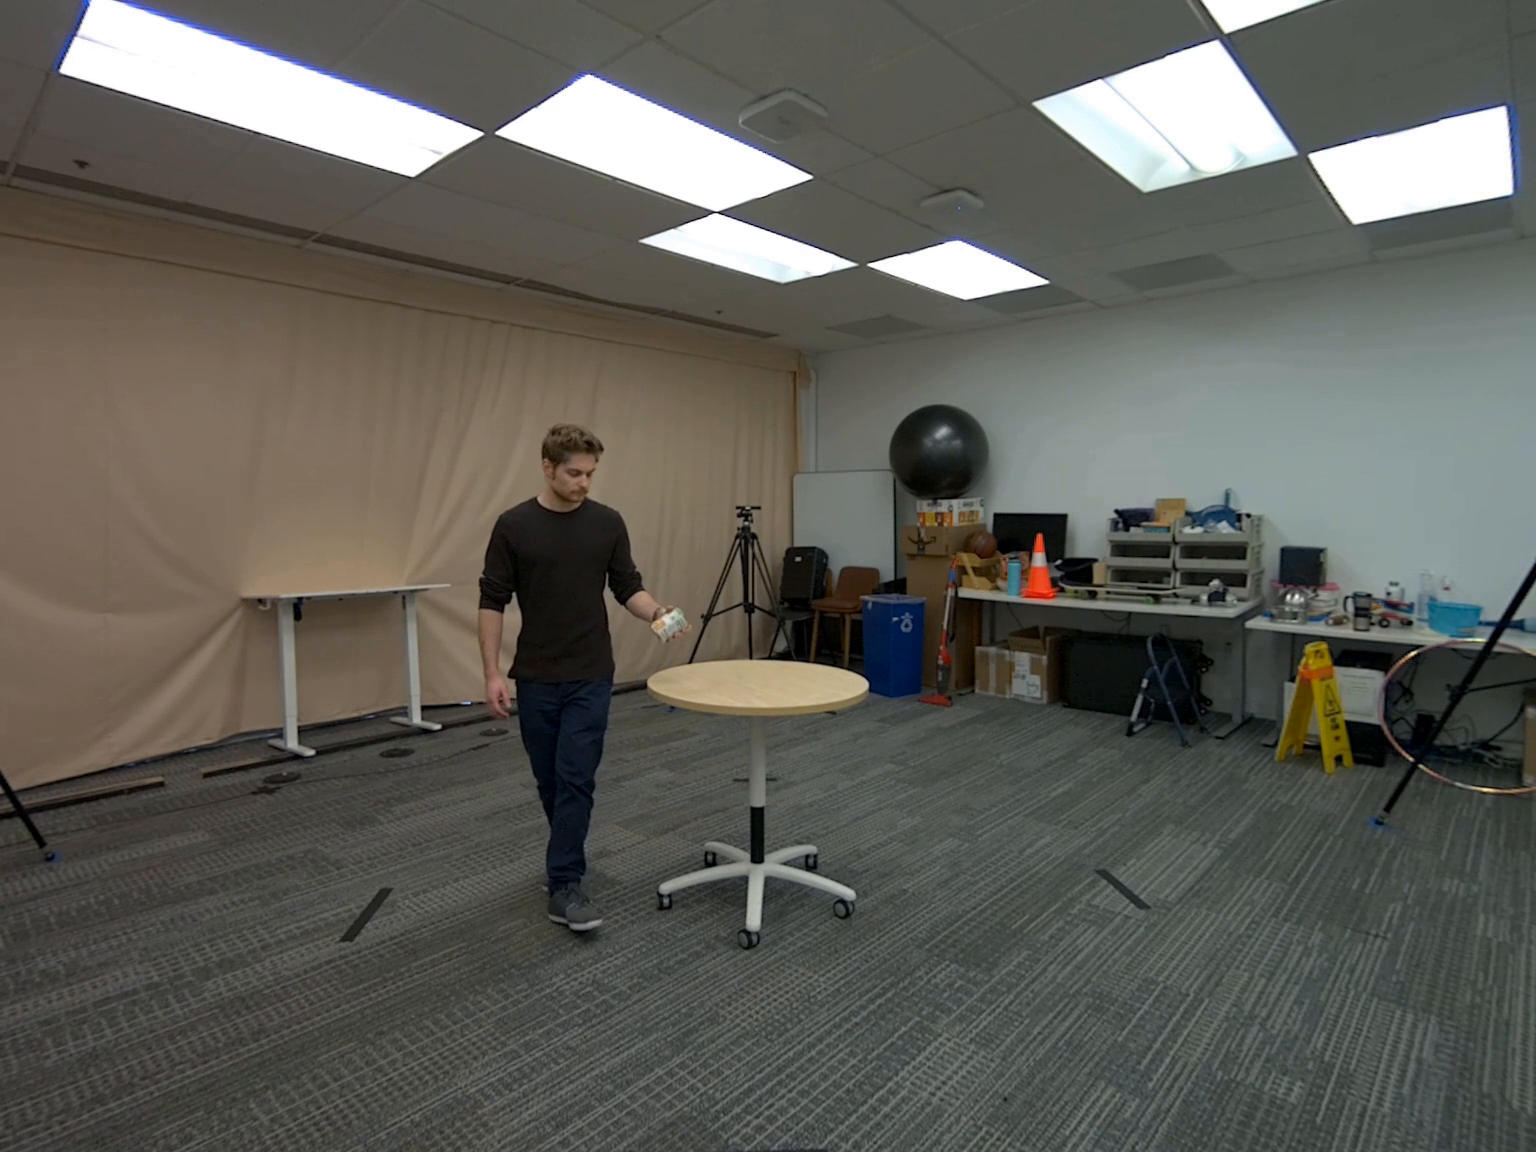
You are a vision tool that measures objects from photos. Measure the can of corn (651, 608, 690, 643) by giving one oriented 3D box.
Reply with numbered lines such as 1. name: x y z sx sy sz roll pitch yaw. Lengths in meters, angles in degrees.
1. can of corn: -0.317 0.155 2.778 0.111 0.074 0.075 -29 6 -3
